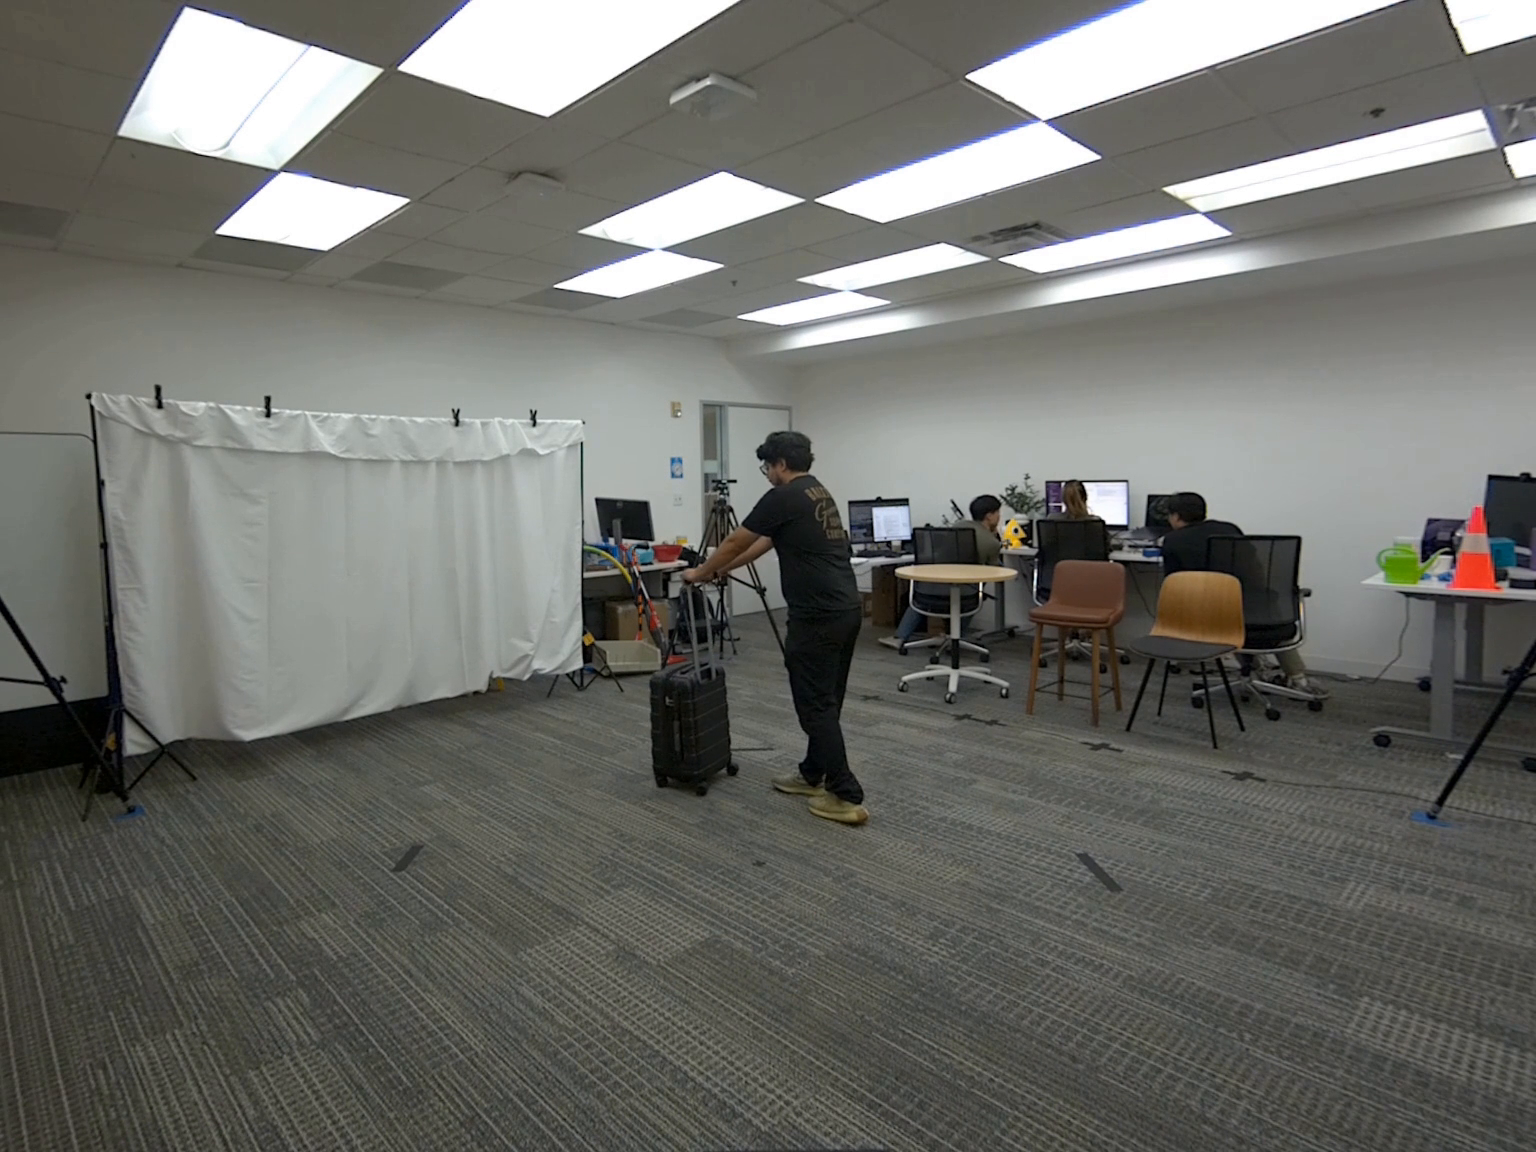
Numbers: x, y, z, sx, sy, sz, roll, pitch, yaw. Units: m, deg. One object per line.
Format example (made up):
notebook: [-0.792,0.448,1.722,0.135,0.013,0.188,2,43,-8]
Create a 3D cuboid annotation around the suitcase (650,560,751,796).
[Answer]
suitcase: [-0.380,0.483,3.975,0.263,0.976,0.376,-5,3,30]
